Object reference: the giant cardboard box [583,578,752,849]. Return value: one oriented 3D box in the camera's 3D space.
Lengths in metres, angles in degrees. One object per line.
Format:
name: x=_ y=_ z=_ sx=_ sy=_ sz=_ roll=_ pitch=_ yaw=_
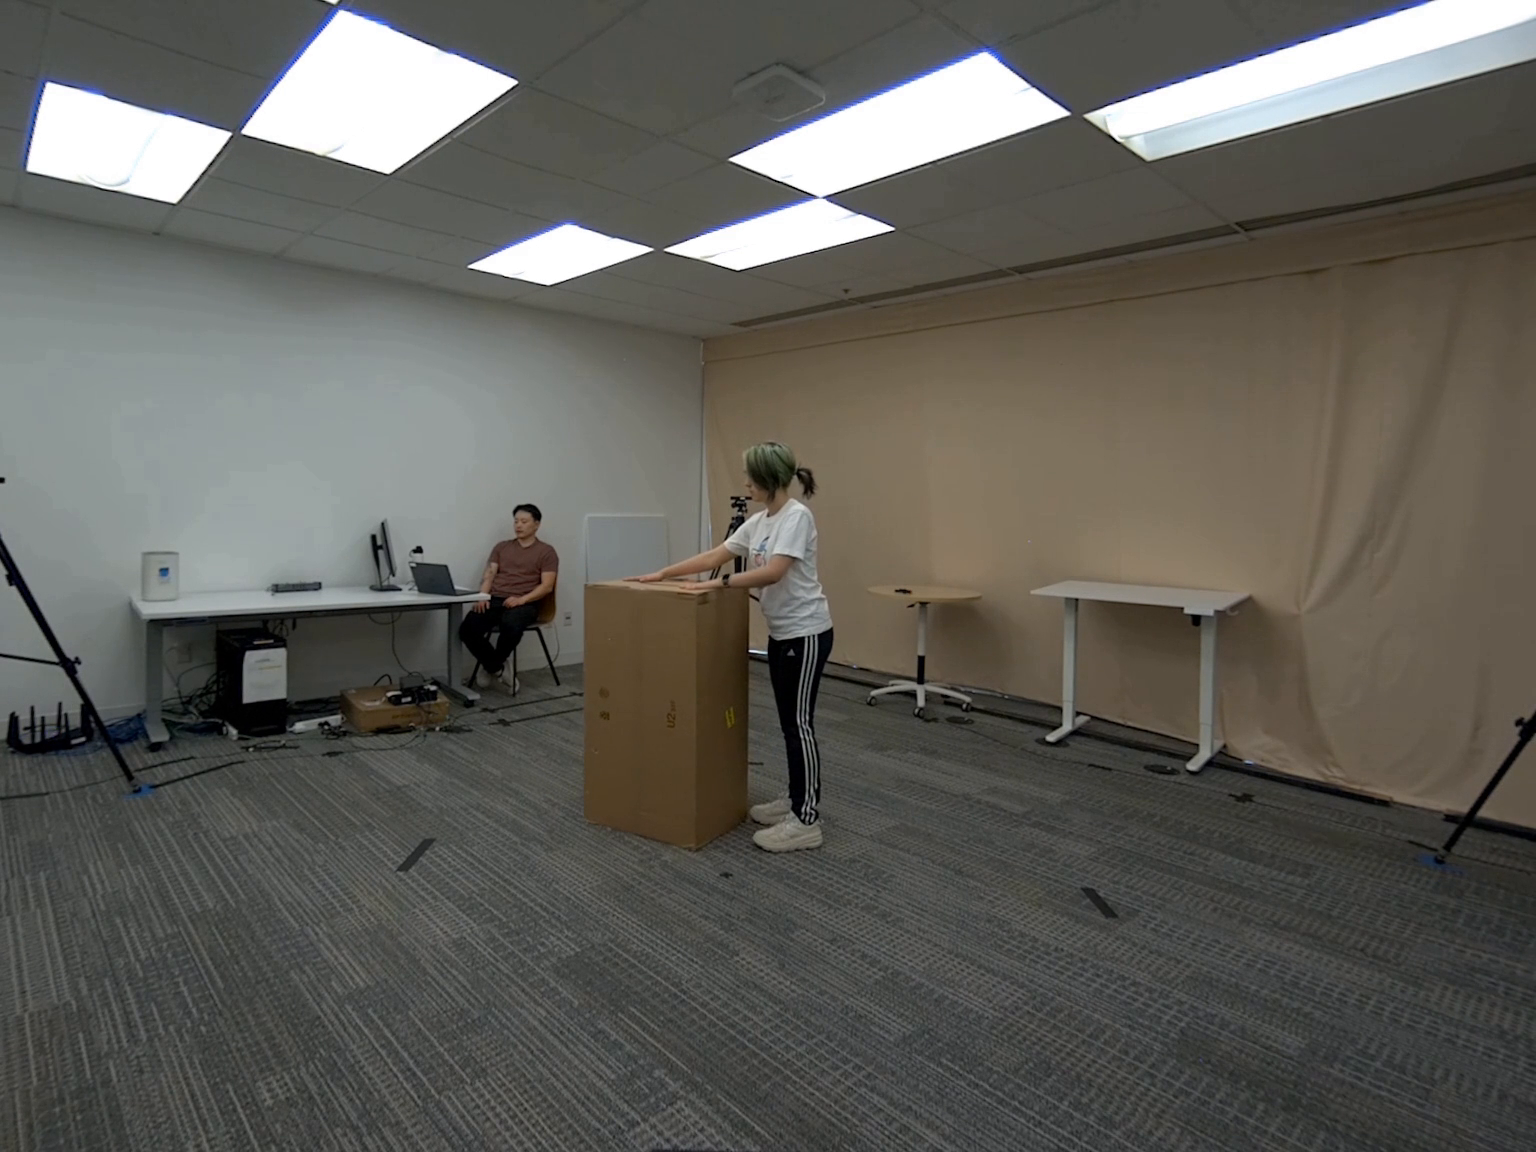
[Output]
giant cardboard box: x=-0.438 y=0.548 z=3.603 sx=0.596 sy=1.024 sz=0.438 roll=2 pitch=4 yaw=30
